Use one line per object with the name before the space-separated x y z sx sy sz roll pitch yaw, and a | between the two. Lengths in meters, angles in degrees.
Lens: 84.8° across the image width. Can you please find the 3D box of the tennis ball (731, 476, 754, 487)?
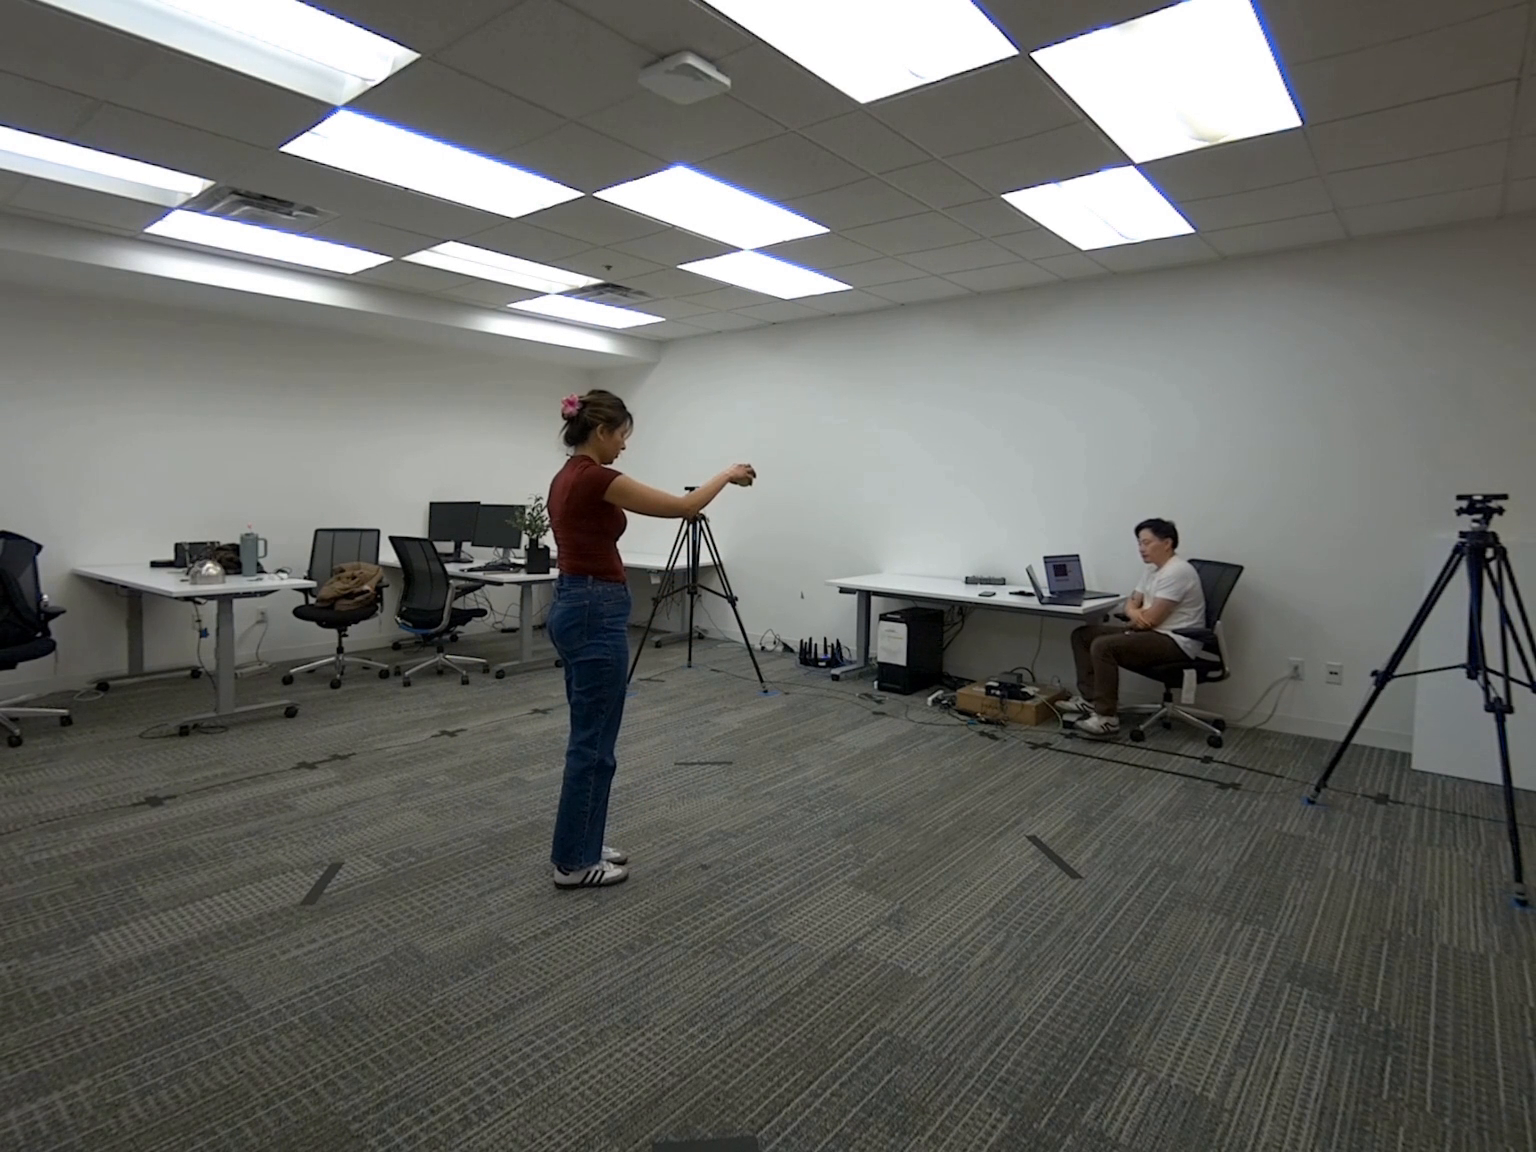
tennis ball | -0.101 -0.361 3.147 0.066 0.066 0.067 1 4 -2
